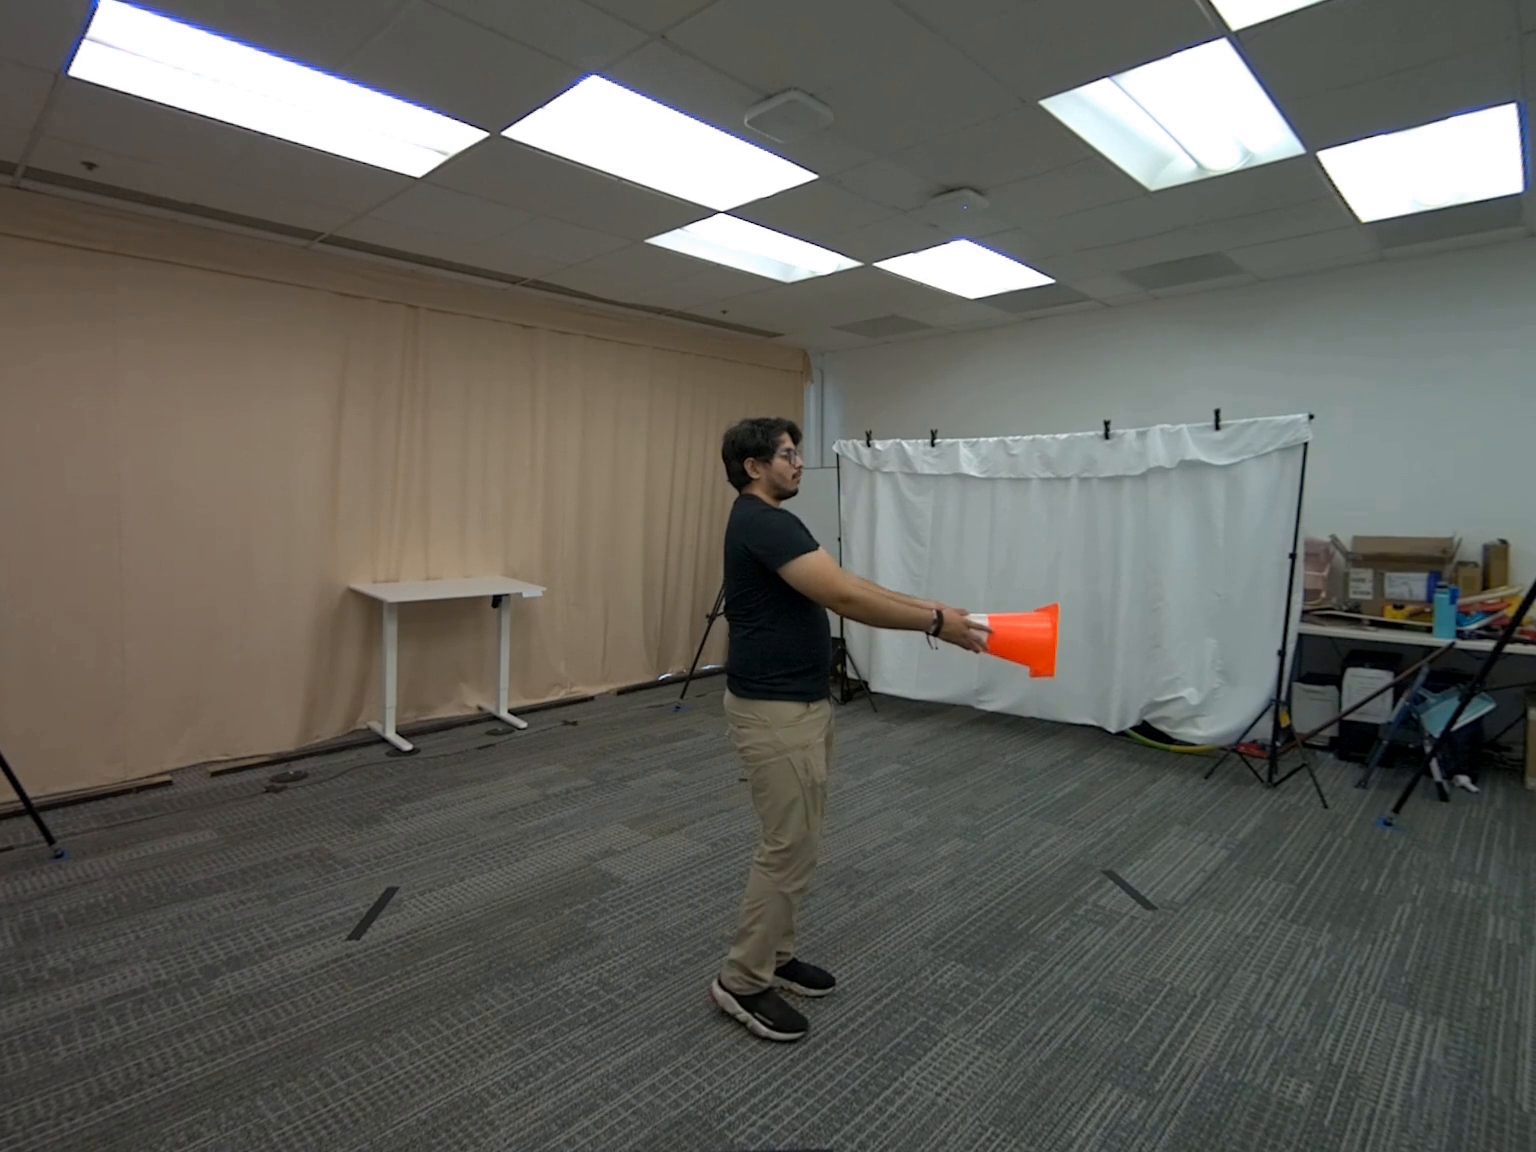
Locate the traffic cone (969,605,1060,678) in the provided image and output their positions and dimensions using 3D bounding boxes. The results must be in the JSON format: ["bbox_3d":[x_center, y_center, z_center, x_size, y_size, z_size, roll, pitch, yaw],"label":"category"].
[{"bbox_3d":[0.565,0.169,2.319,0.386,0.206,0.201,4,-8,5],"label":"traffic cone"}]
